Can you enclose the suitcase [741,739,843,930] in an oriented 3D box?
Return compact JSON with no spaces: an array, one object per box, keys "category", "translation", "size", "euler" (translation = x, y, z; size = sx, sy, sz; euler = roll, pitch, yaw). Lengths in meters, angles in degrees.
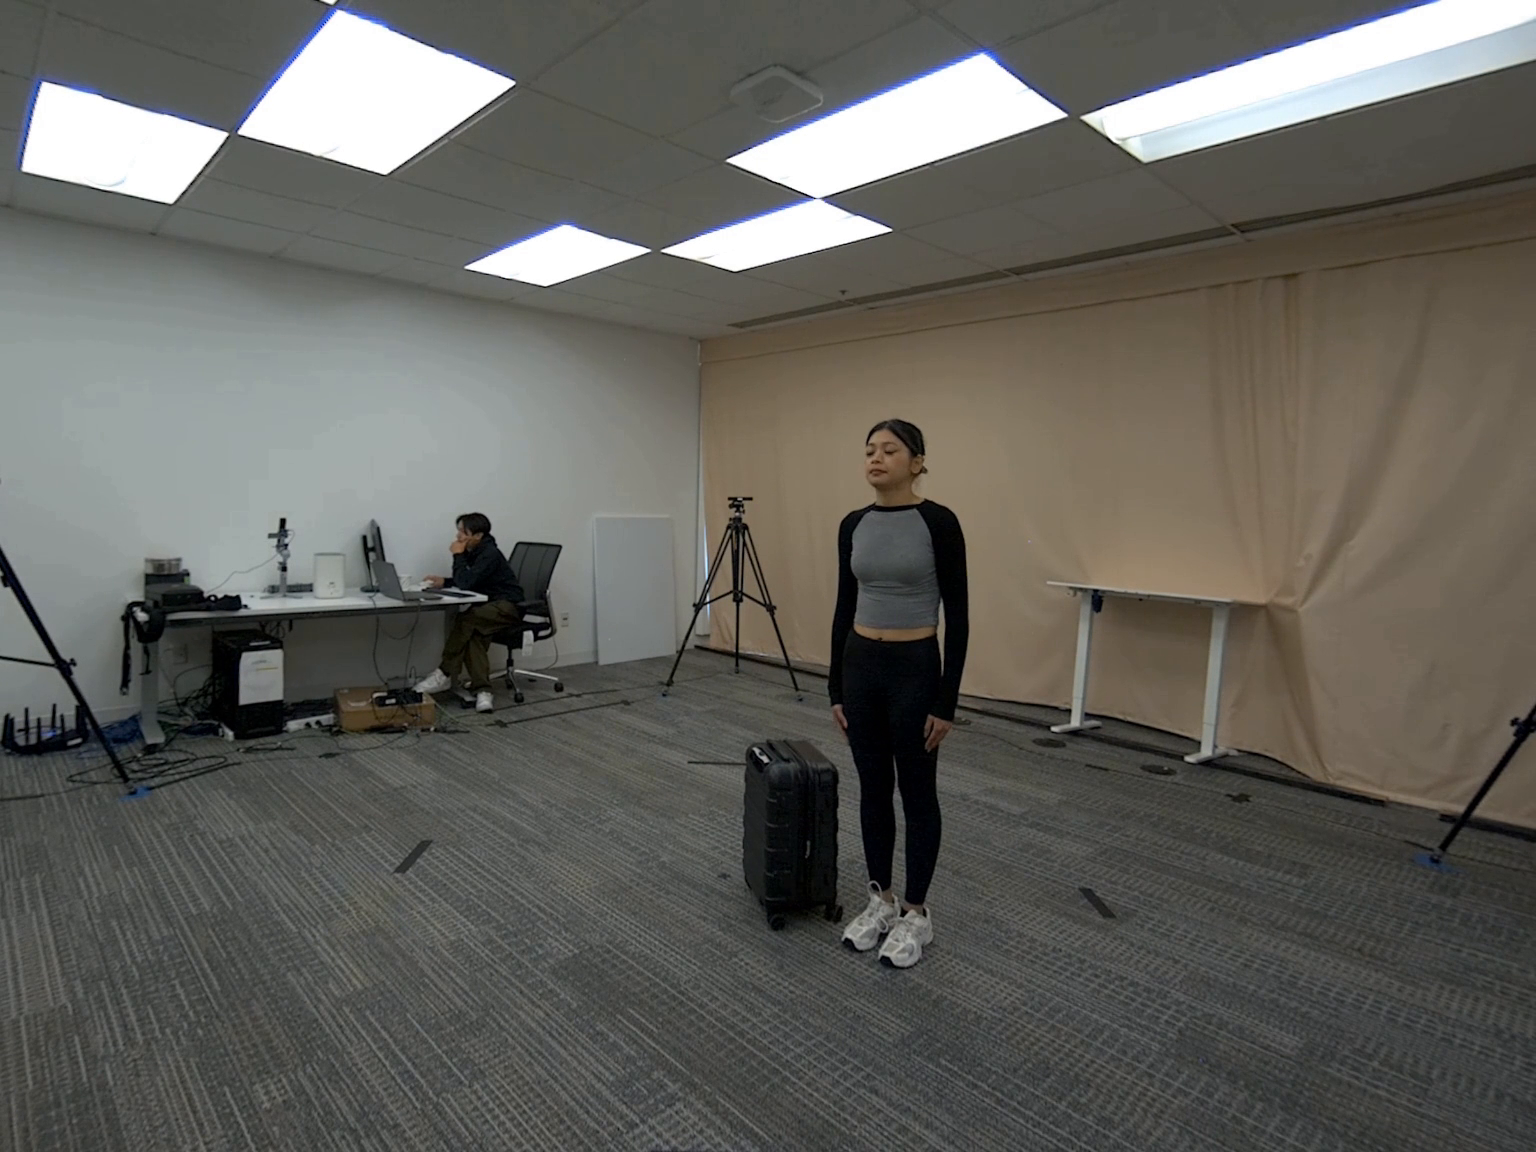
[{"category":"suitcase","translation":[0.070,0.854,2.885],"size":[0.245,0.548,0.381],"euler":[0,3,-16]}]
